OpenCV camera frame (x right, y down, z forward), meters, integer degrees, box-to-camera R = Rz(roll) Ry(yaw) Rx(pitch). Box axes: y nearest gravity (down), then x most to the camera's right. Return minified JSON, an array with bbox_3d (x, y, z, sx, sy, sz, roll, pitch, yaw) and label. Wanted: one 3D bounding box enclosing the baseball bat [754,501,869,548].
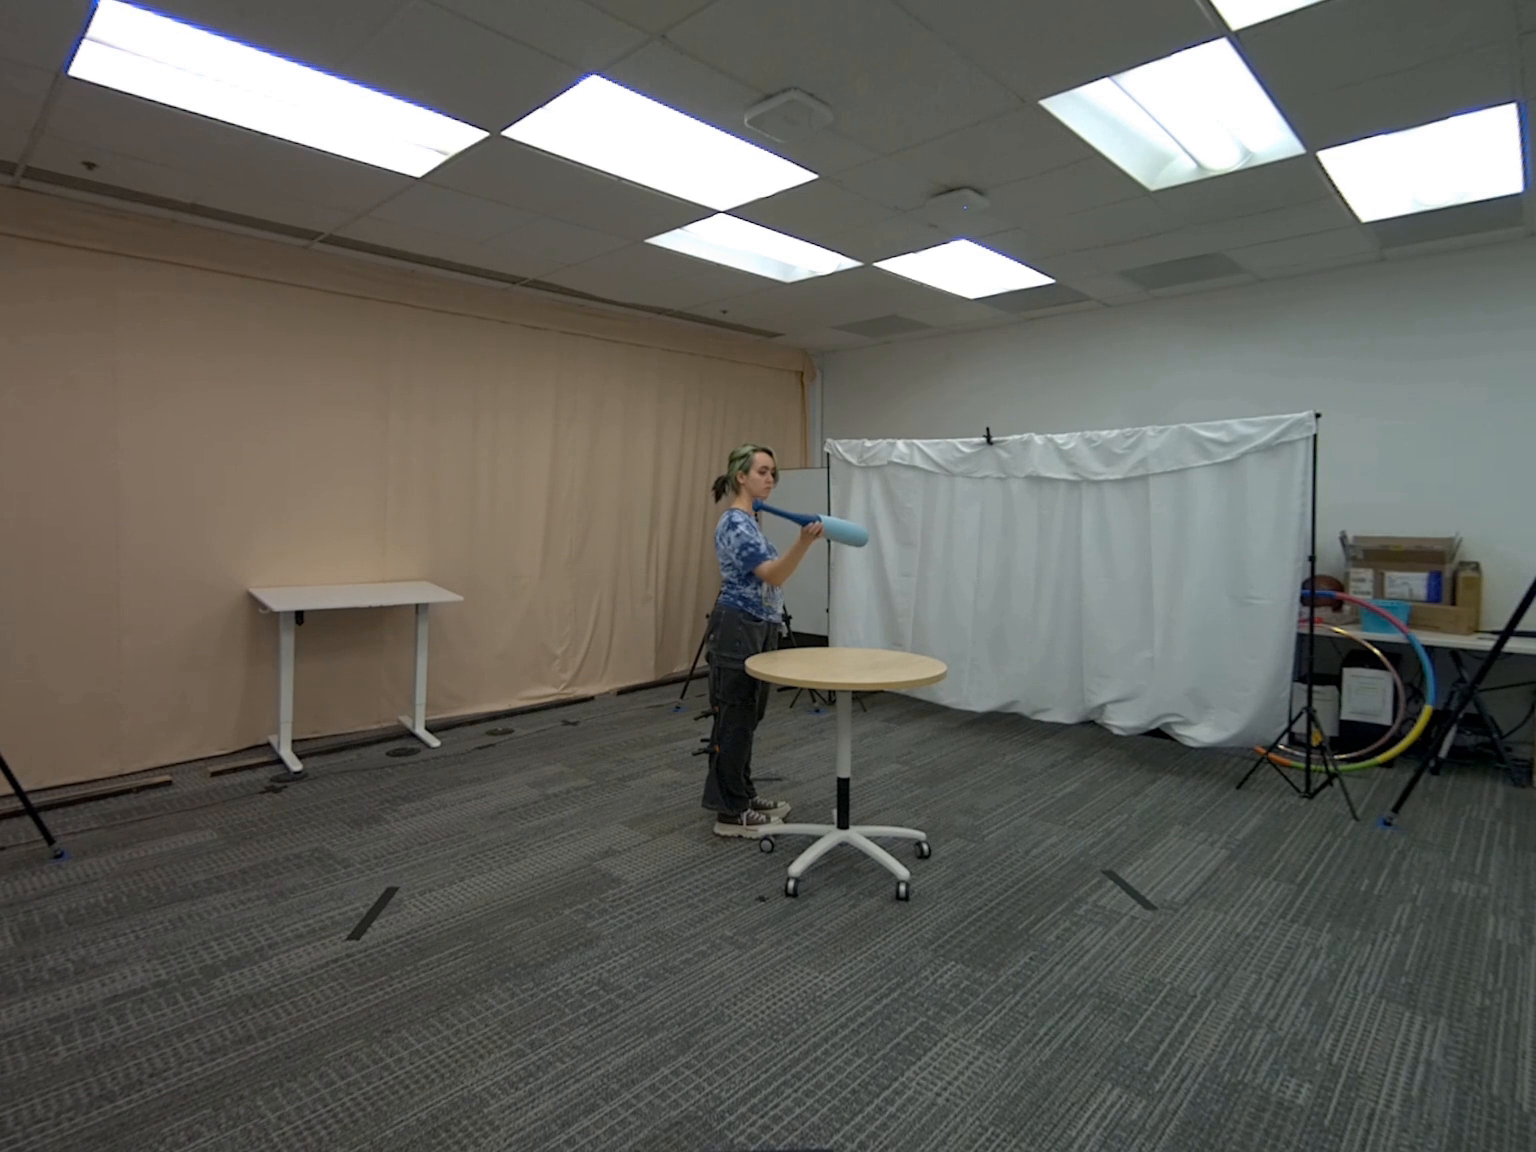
[{"bbox_3d":[0.165,-0.203,3.185,0.526,0.089,0.092,15,-5,-32],"label":"baseball bat"}]
